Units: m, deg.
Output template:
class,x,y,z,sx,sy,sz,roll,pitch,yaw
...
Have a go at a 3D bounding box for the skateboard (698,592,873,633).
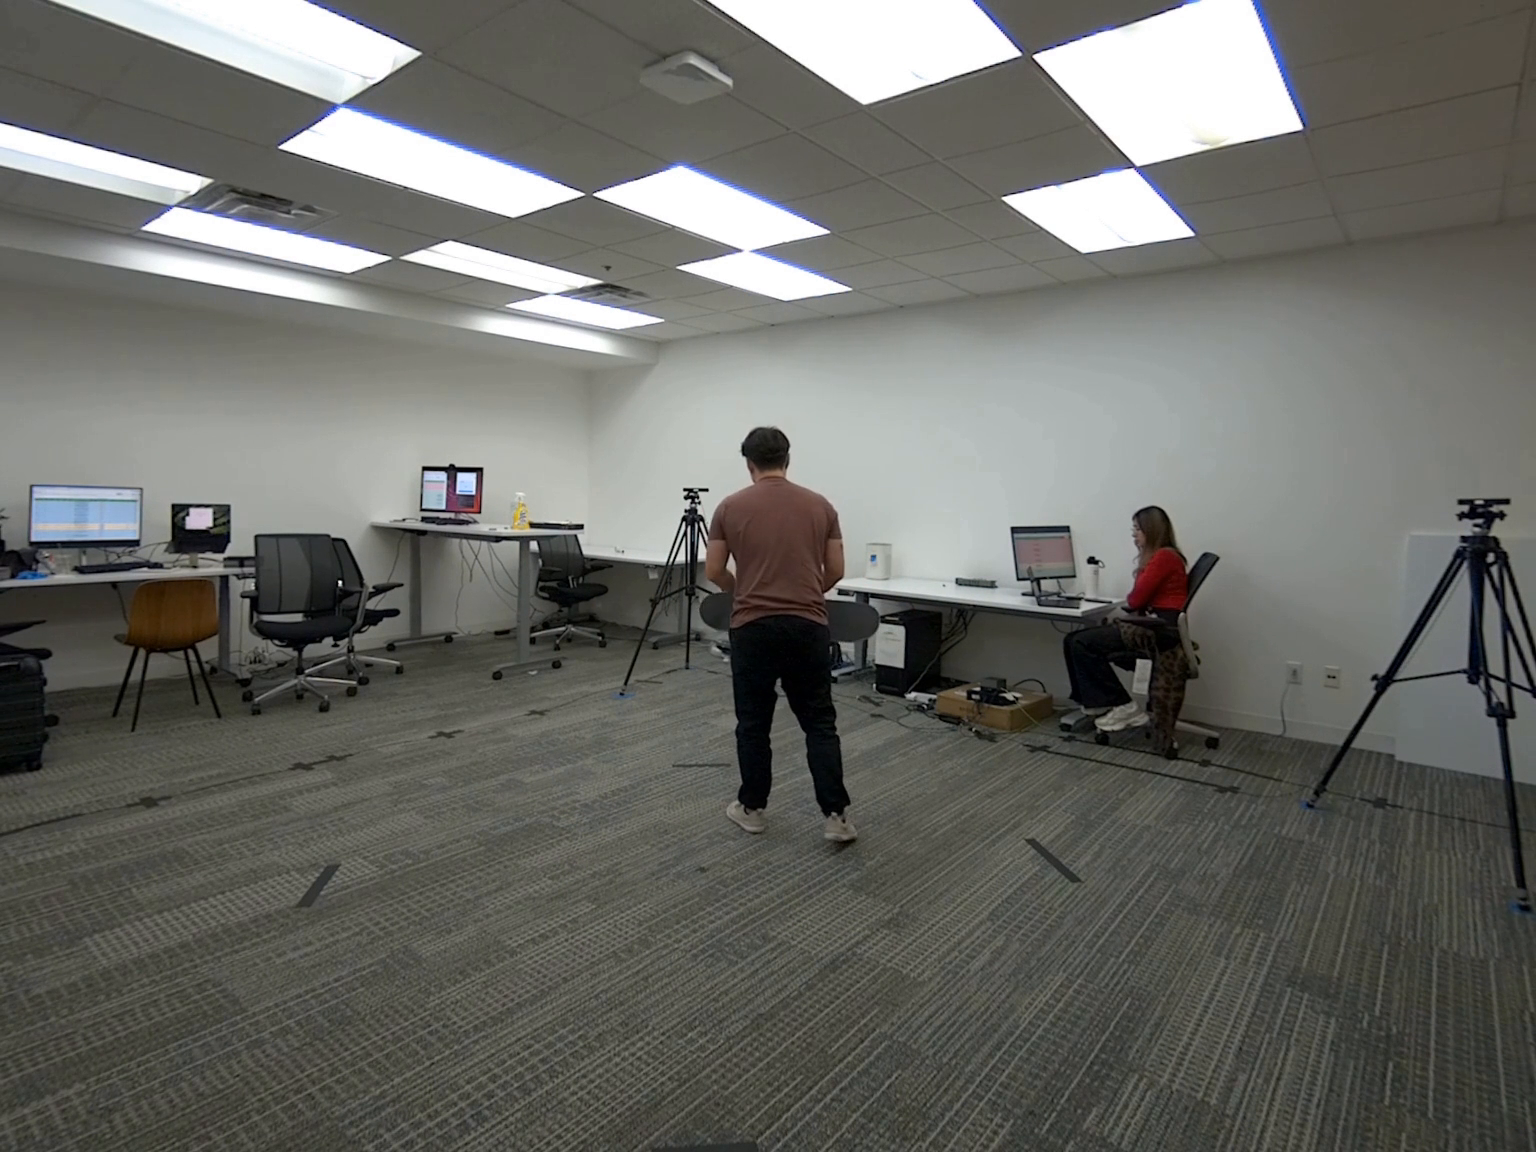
class,x,y,z,sx,sy,sz,roll,pitch,yaw
skateboard,0.082,0.199,3.702,0.798,0.197,0.106,4,-31,14
